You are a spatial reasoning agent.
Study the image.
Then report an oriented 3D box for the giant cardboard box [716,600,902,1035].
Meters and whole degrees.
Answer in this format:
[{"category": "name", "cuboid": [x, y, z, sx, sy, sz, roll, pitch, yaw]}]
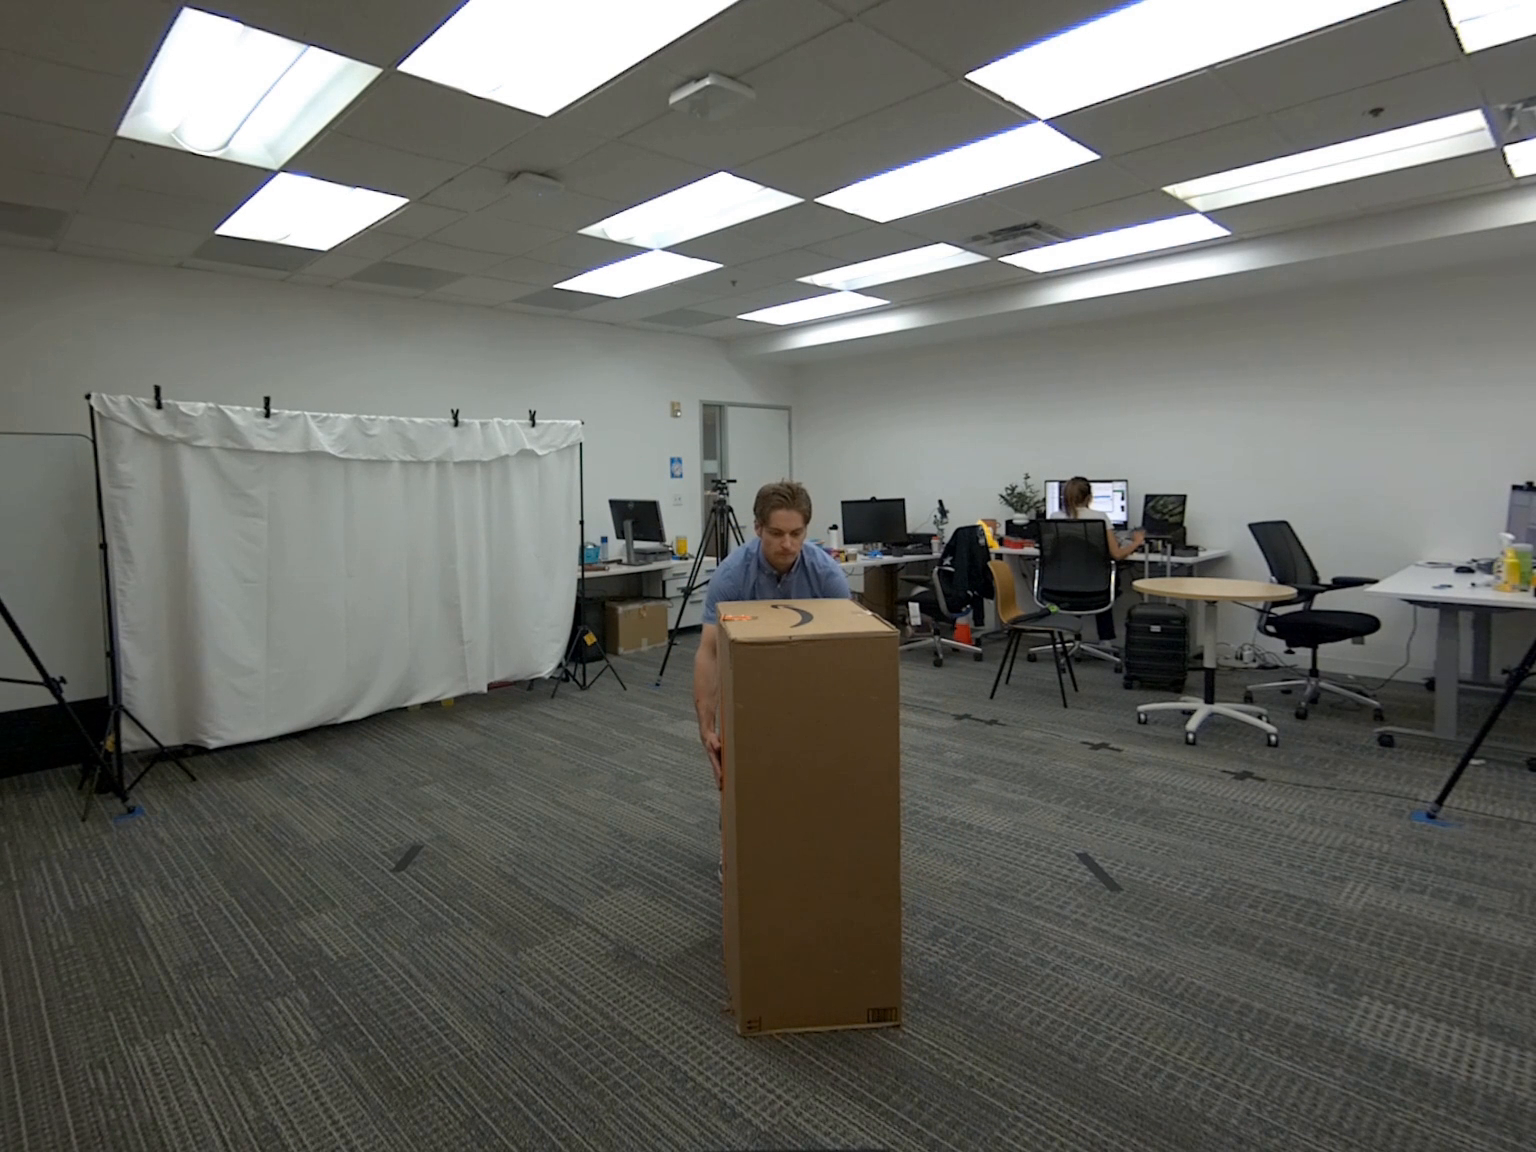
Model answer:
[{"category": "giant cardboard box", "cuboid": [0.091, 0.620, 2.406, 0.424, 1.022, 0.583, -2, 5, -6]}]
